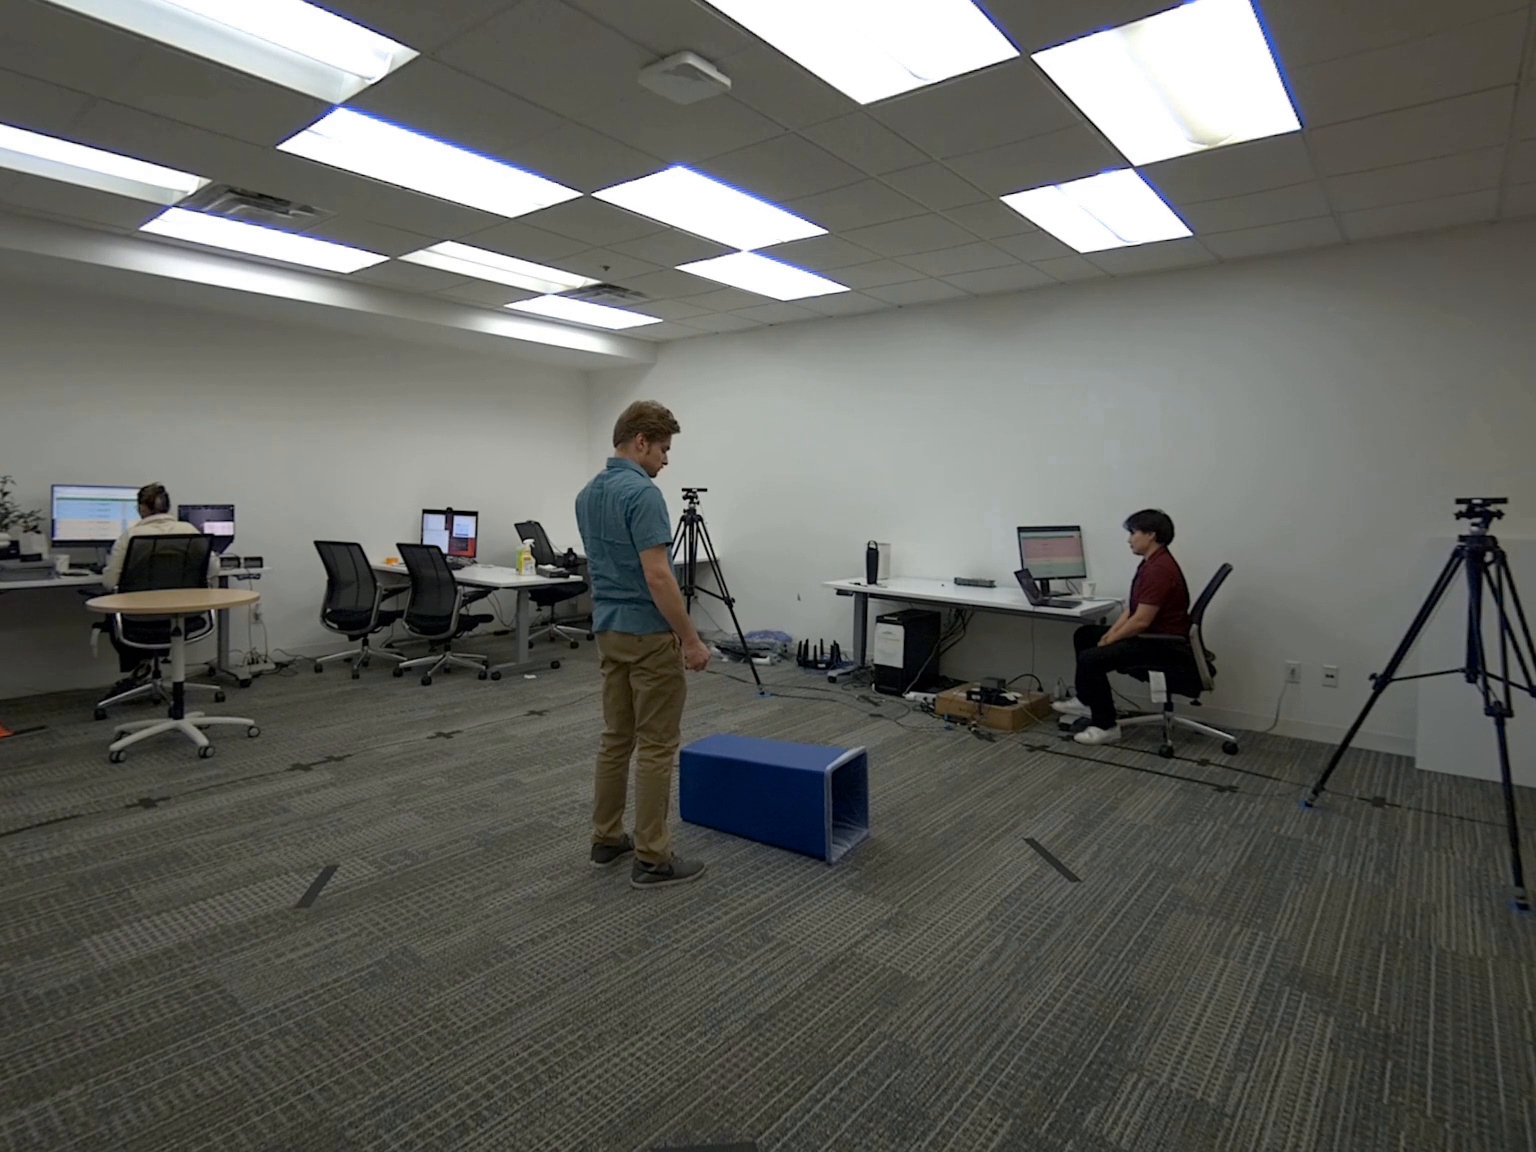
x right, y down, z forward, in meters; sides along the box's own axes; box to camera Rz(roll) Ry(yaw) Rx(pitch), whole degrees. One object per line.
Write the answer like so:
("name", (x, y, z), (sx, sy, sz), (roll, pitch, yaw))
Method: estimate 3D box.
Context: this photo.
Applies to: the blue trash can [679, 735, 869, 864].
("blue trash can", (0.001, 0.874, 3.484), (0.734, 0.377, 0.364), (1, 4, 32))
